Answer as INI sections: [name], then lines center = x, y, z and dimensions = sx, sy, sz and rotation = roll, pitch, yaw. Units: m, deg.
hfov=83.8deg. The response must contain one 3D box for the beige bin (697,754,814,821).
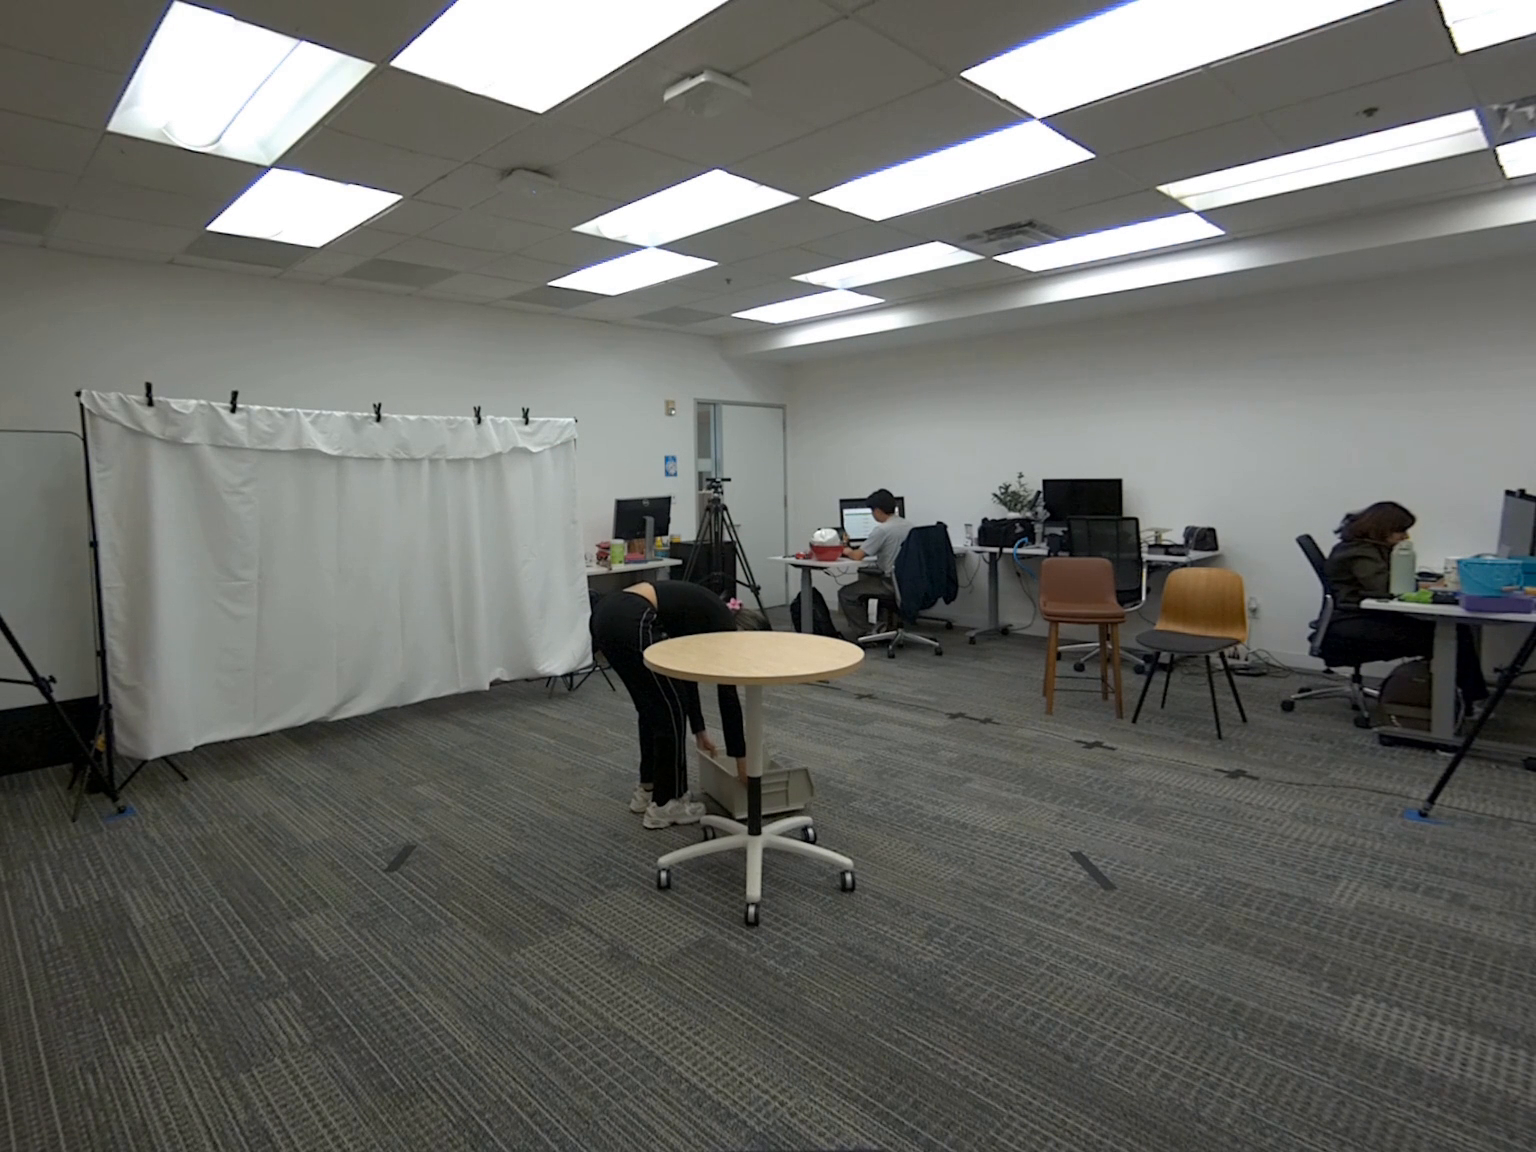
[beige bin]
center = -0.063, 0.861, 3.690
dimensions = 0.370, 0.188, 0.433
rotation = -4, 6, -24
